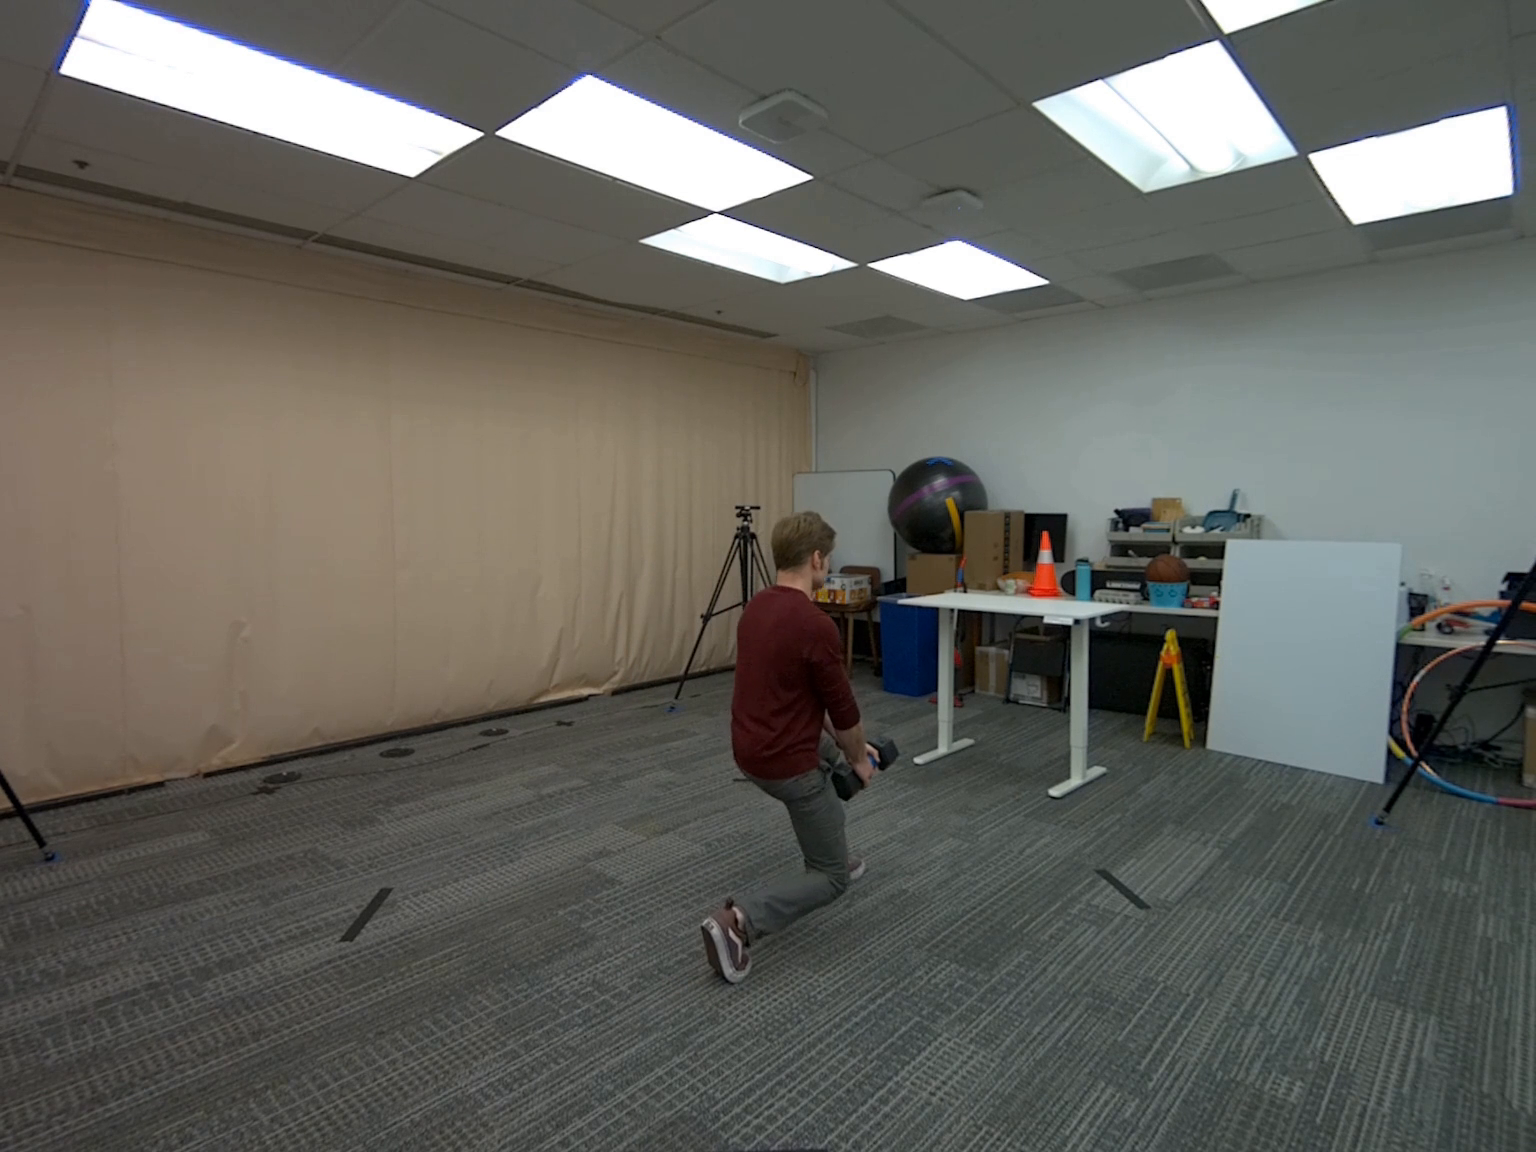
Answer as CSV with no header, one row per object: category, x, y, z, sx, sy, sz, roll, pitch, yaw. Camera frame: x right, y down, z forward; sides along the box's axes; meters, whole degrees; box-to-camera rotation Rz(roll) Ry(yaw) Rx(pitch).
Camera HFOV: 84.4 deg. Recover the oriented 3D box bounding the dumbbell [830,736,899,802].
dumbbell,0.336,0.669,2.961,0.287,0.122,0.112,-25,58,-39
